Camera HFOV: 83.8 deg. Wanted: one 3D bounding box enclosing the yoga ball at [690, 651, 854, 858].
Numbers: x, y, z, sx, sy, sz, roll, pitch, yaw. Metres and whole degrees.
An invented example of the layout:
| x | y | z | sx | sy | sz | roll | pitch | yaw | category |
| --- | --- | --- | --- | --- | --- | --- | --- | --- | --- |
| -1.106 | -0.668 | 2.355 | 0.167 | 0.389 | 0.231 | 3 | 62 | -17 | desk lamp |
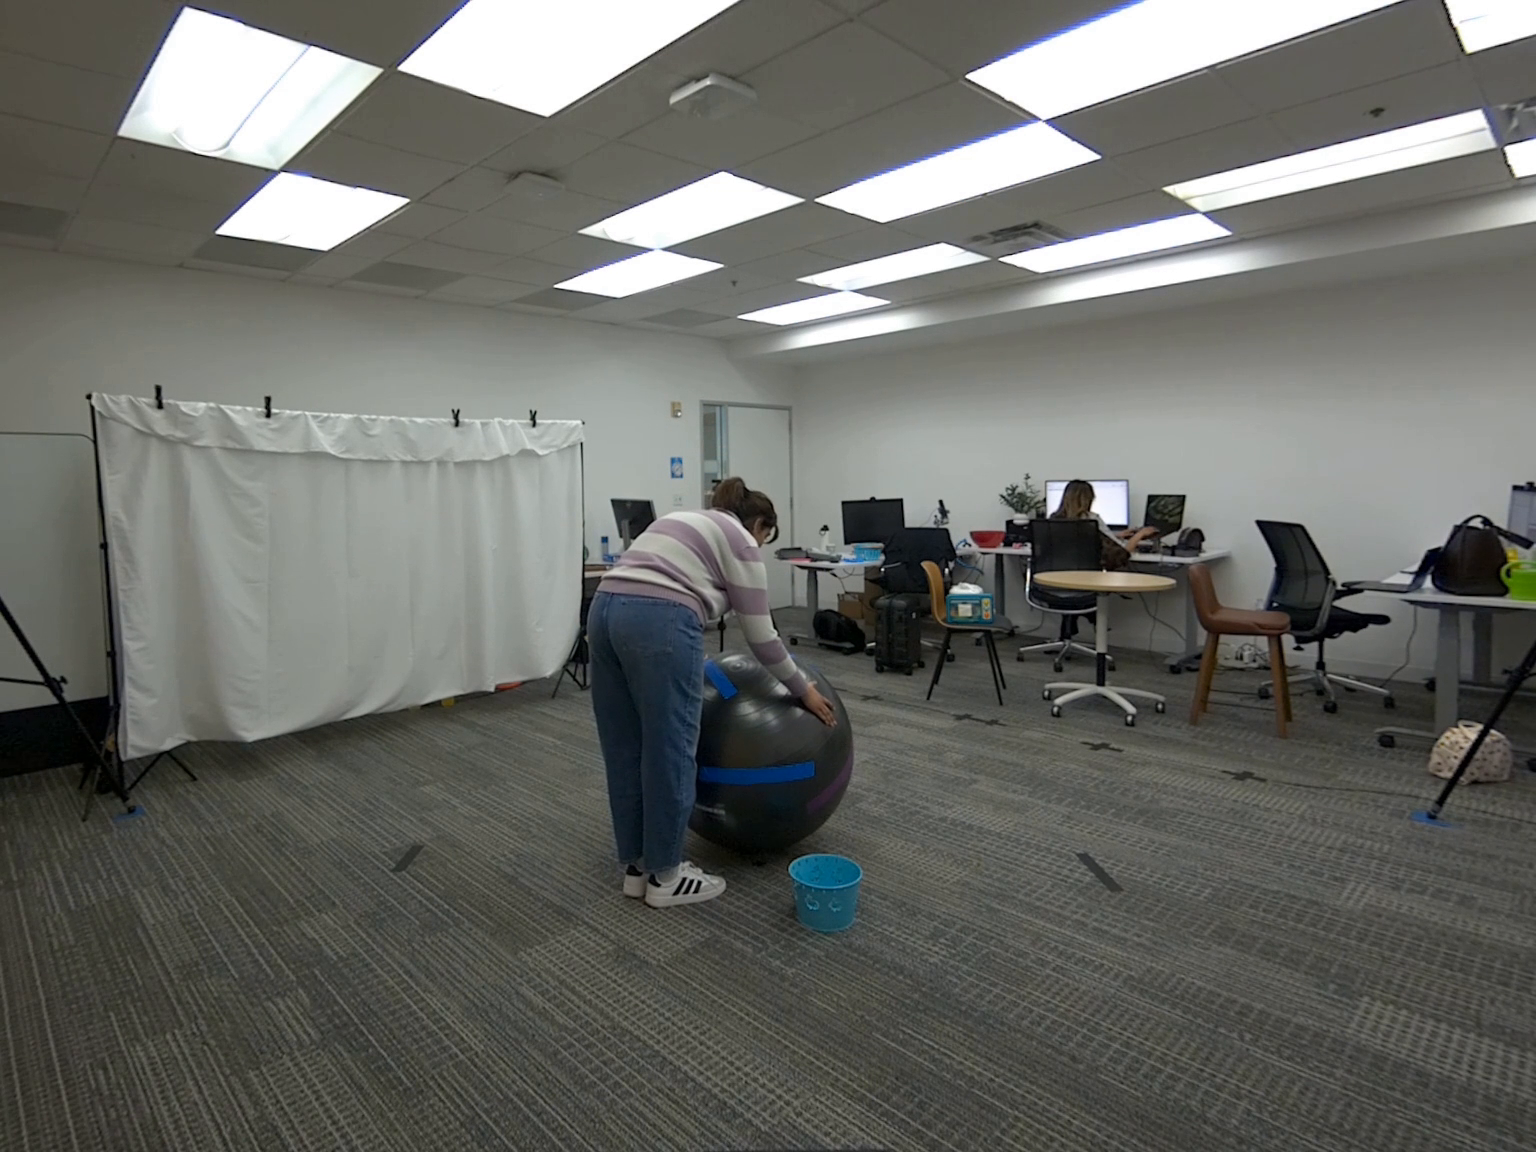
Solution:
| x | y | z | sx | sy | sz | roll | pitch | yaw | category |
| --- | --- | --- | --- | --- | --- | --- | --- | --- | --- |
| -0.050 | 0.668 | 3.253 | 0.757 | 0.755 | 0.762 | -1 | 5 | -2 | yoga ball |
